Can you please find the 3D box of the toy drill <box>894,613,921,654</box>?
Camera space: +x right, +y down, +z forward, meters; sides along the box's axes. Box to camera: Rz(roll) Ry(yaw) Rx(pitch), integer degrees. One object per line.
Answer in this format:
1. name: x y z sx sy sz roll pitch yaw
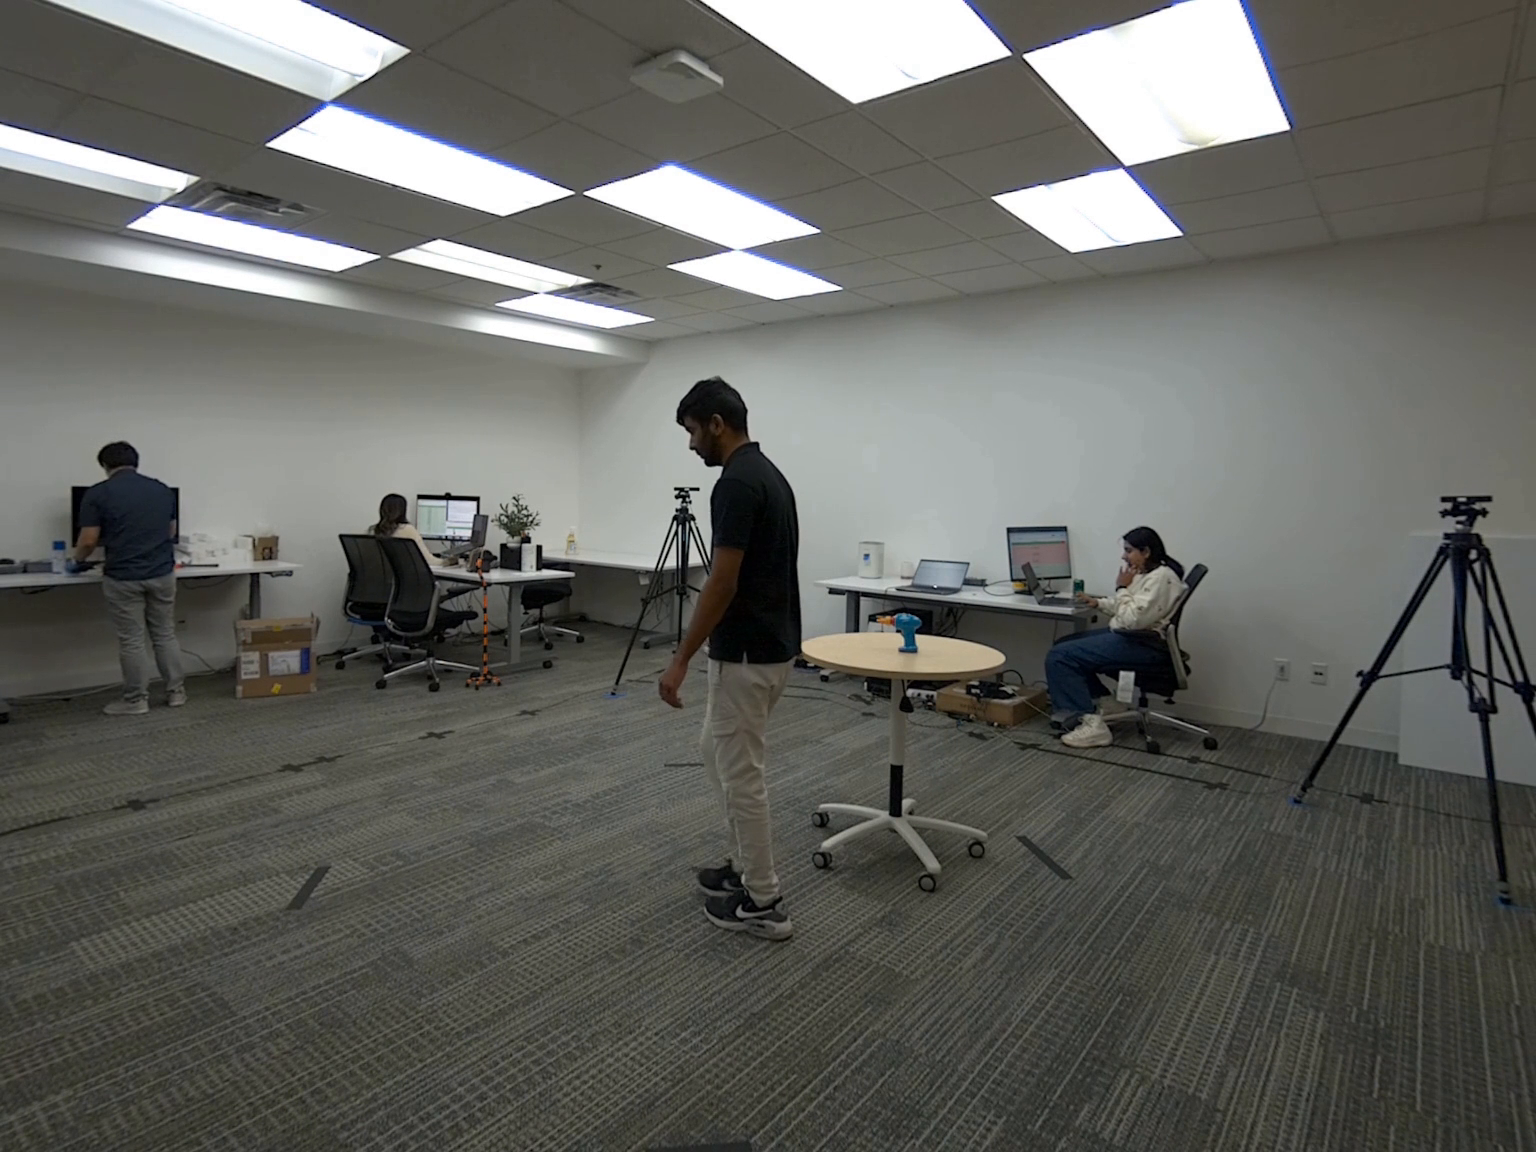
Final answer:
1. toy drill: 0.491 0.210 3.249 0.172 0.145 0.060 2 4 15
